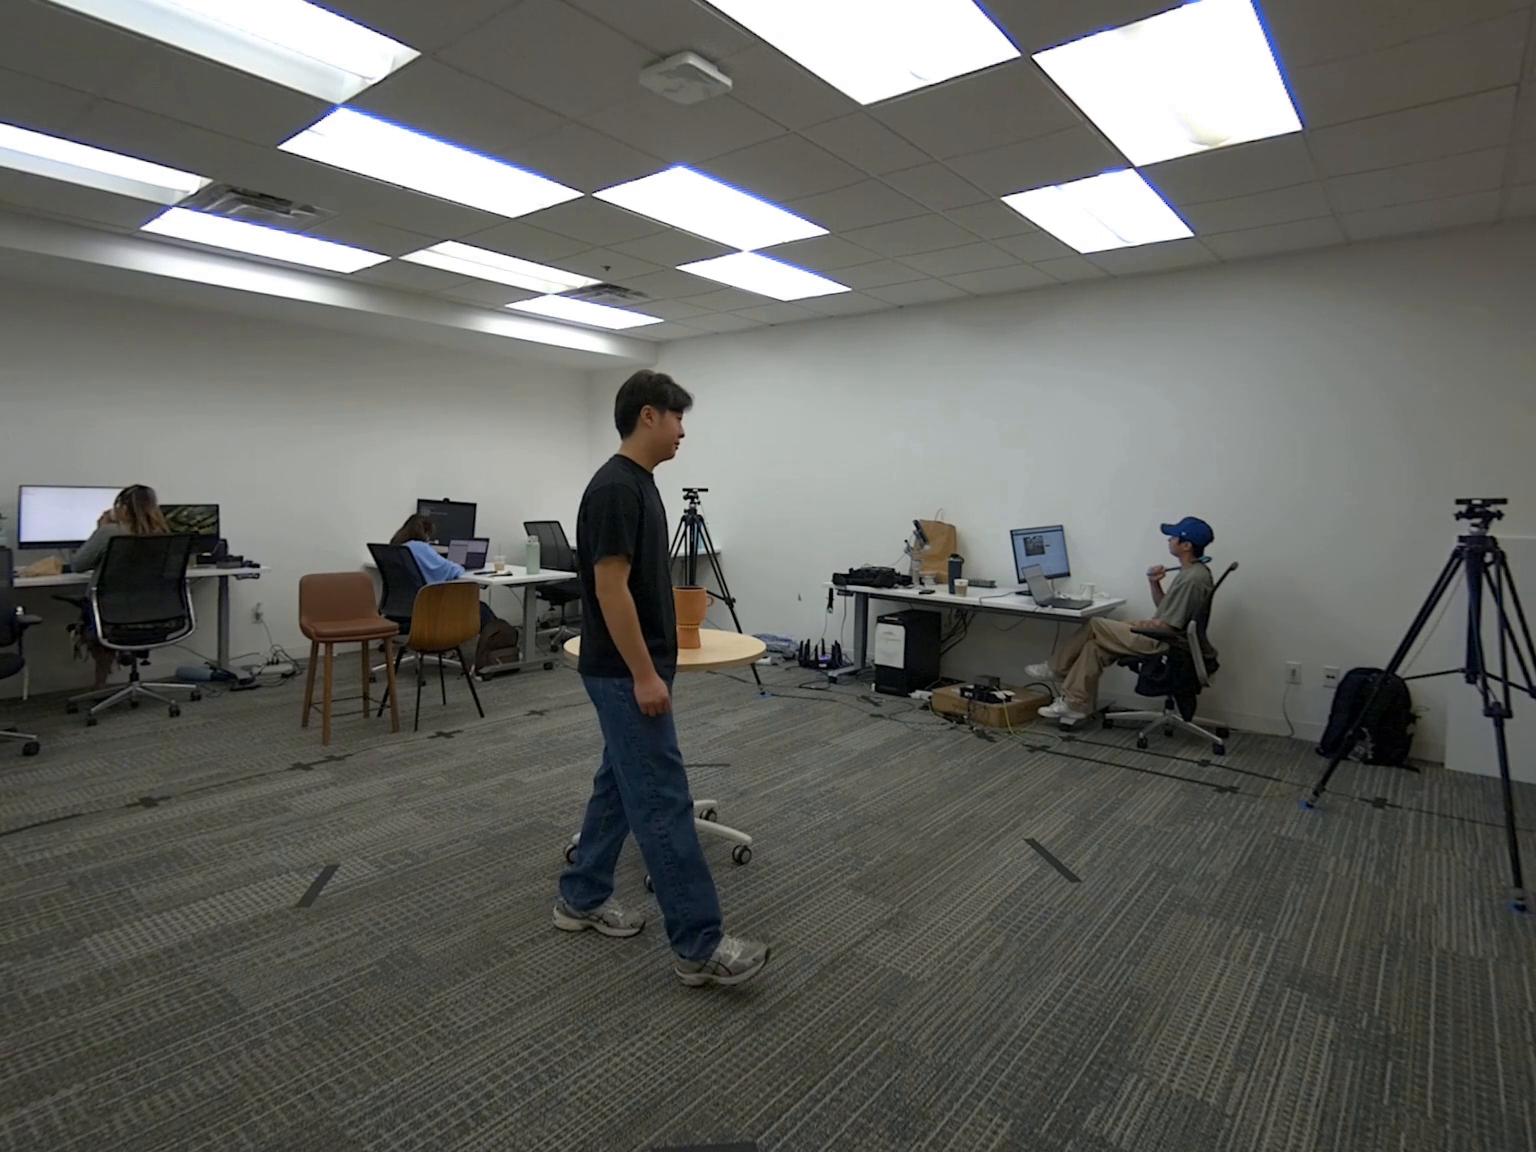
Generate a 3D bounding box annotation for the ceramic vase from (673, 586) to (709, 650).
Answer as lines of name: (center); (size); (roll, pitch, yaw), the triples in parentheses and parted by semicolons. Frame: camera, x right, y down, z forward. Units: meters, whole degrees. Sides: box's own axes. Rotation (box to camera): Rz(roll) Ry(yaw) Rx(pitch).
ceramic vase: (-0.310, 0.153, 3.183); (0.163, 0.219, 0.132); (3, 5, 23)
